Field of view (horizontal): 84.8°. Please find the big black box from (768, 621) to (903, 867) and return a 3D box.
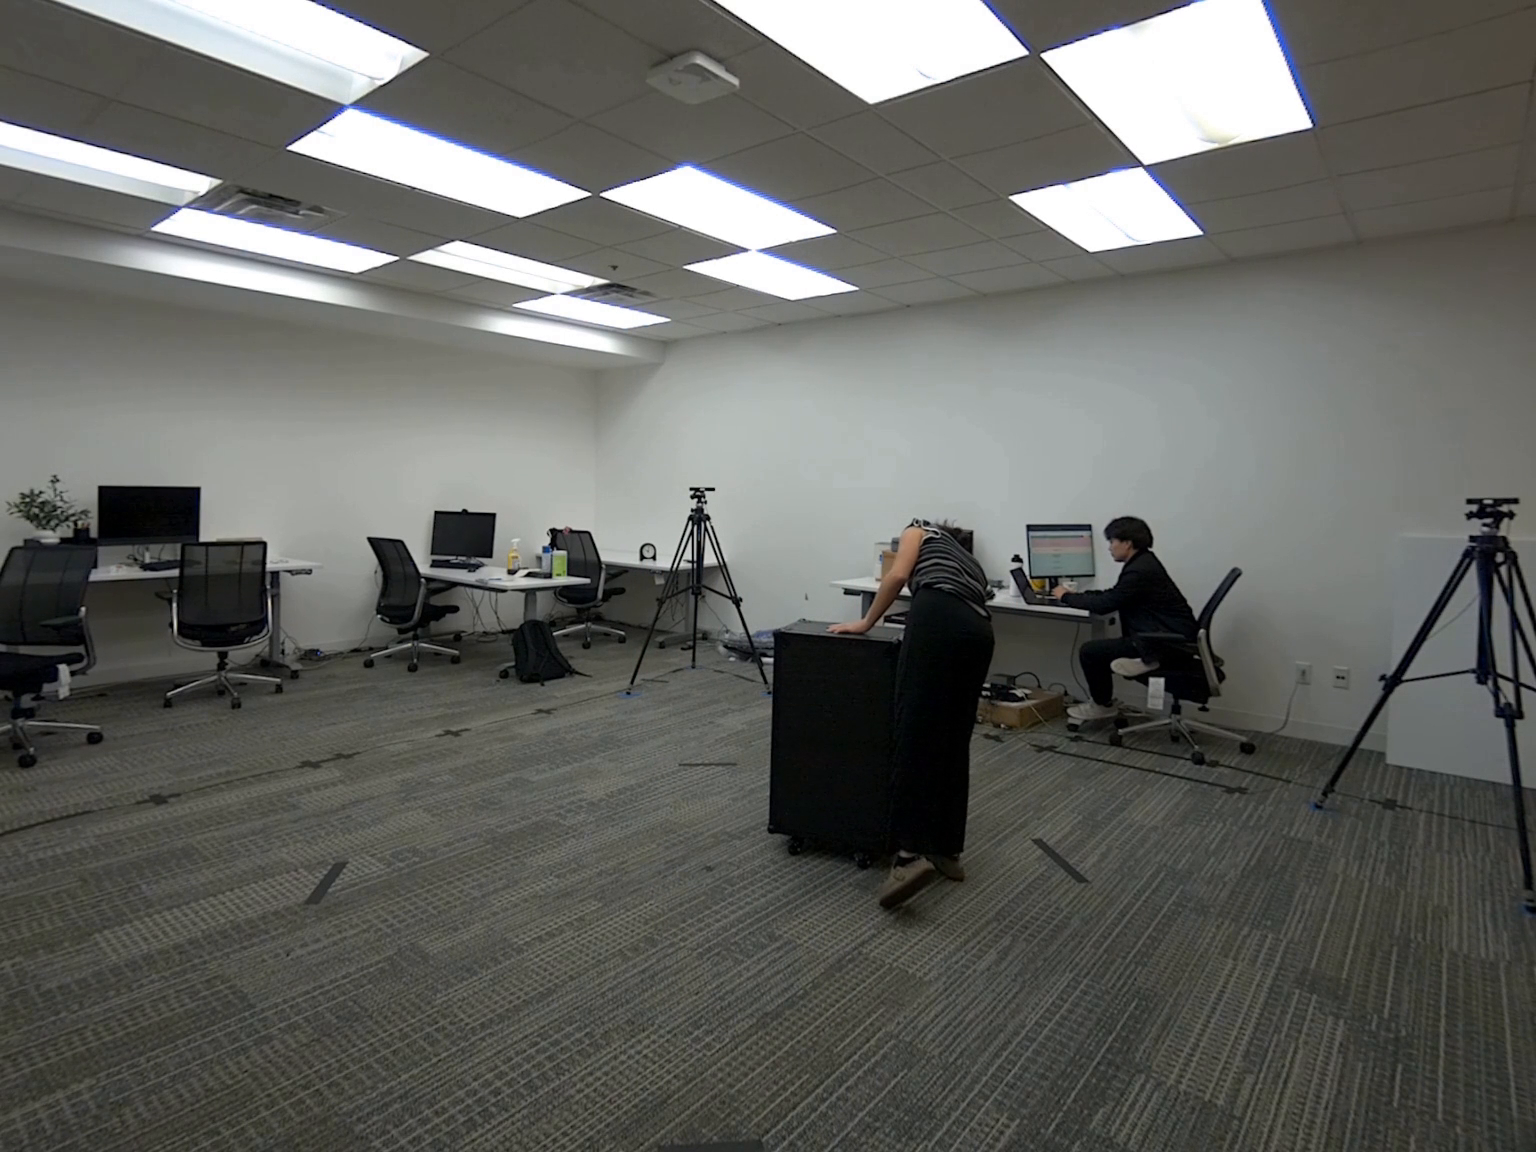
[{"bbox_3d":[0.279,0.633,3.344,0.534,0.860,0.387,3,1,22],"label":"big black box"}]
